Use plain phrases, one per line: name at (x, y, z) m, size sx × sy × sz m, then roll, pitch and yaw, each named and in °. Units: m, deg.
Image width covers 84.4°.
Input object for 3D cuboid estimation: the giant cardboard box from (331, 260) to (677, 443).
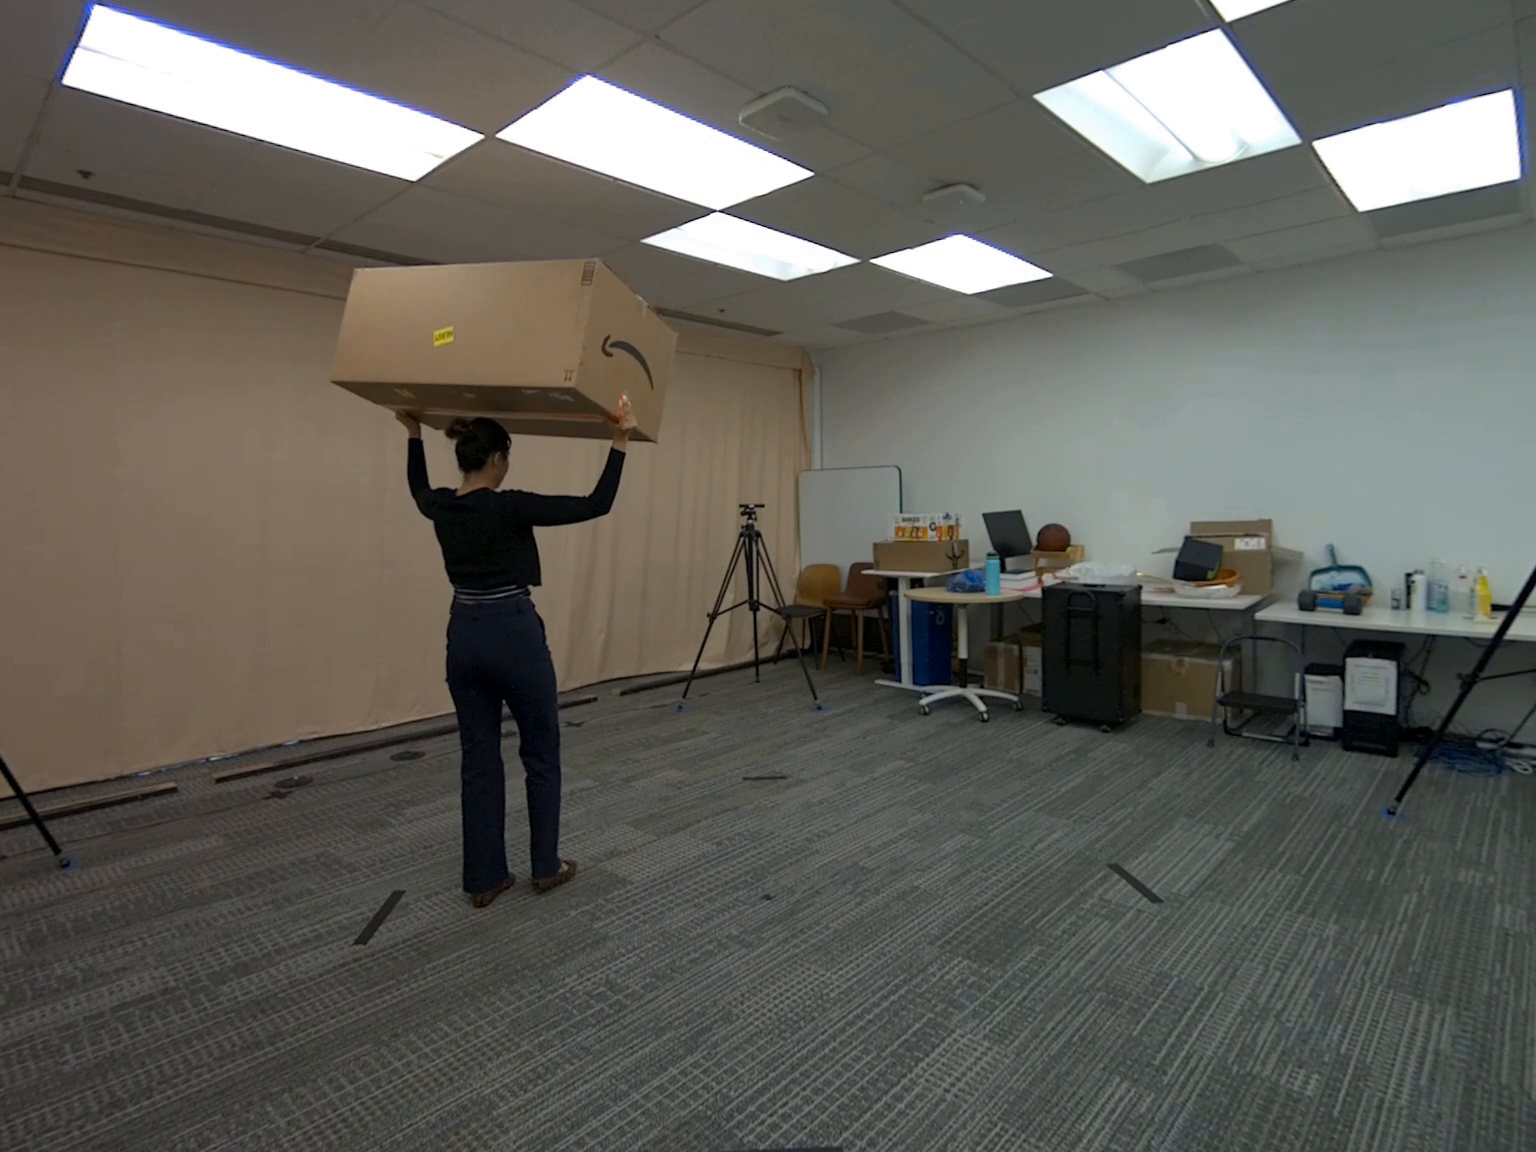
giant cardboard box at (-0.929, -0.779, 3.016) m, size 1.051 × 0.427 × 0.562 m, roll 7°, pitch -7°, yaw 23°
